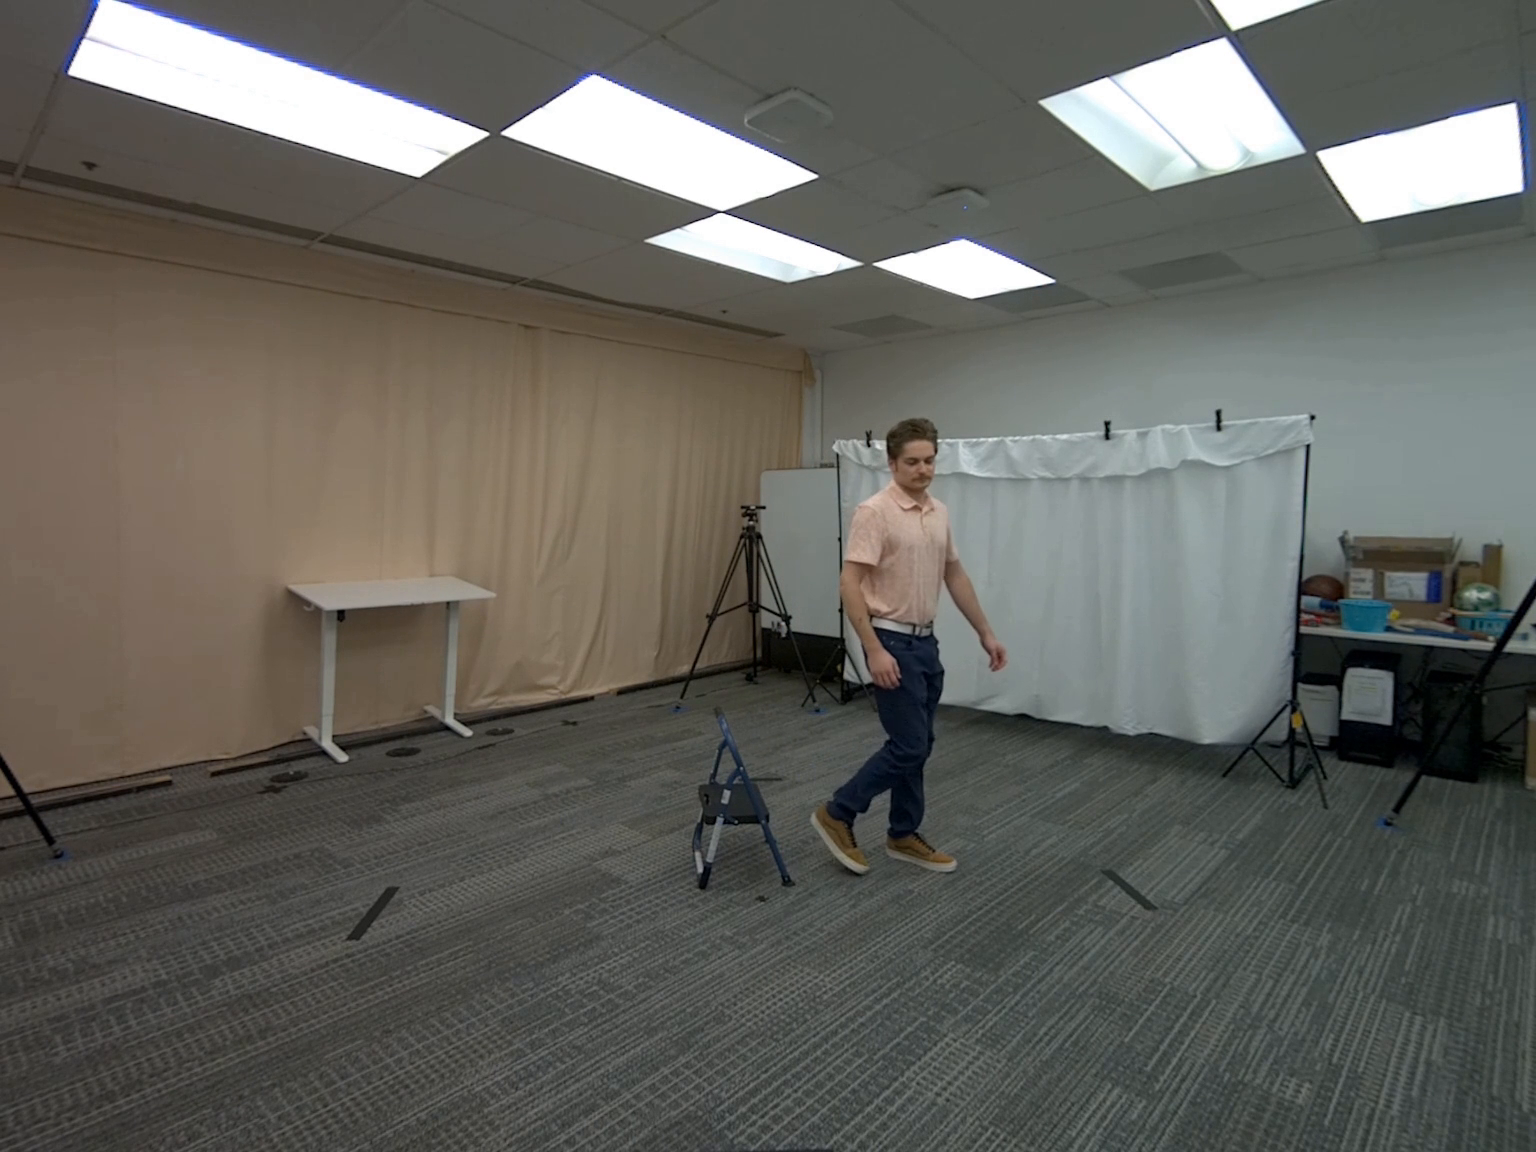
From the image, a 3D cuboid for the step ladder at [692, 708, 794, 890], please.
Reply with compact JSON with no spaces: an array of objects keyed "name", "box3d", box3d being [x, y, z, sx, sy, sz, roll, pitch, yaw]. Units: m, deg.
[{"name":"step ladder","box3d":[-0.111,0.822,3.265,0.346,0.605,0.435,-1,3,-9]}]
